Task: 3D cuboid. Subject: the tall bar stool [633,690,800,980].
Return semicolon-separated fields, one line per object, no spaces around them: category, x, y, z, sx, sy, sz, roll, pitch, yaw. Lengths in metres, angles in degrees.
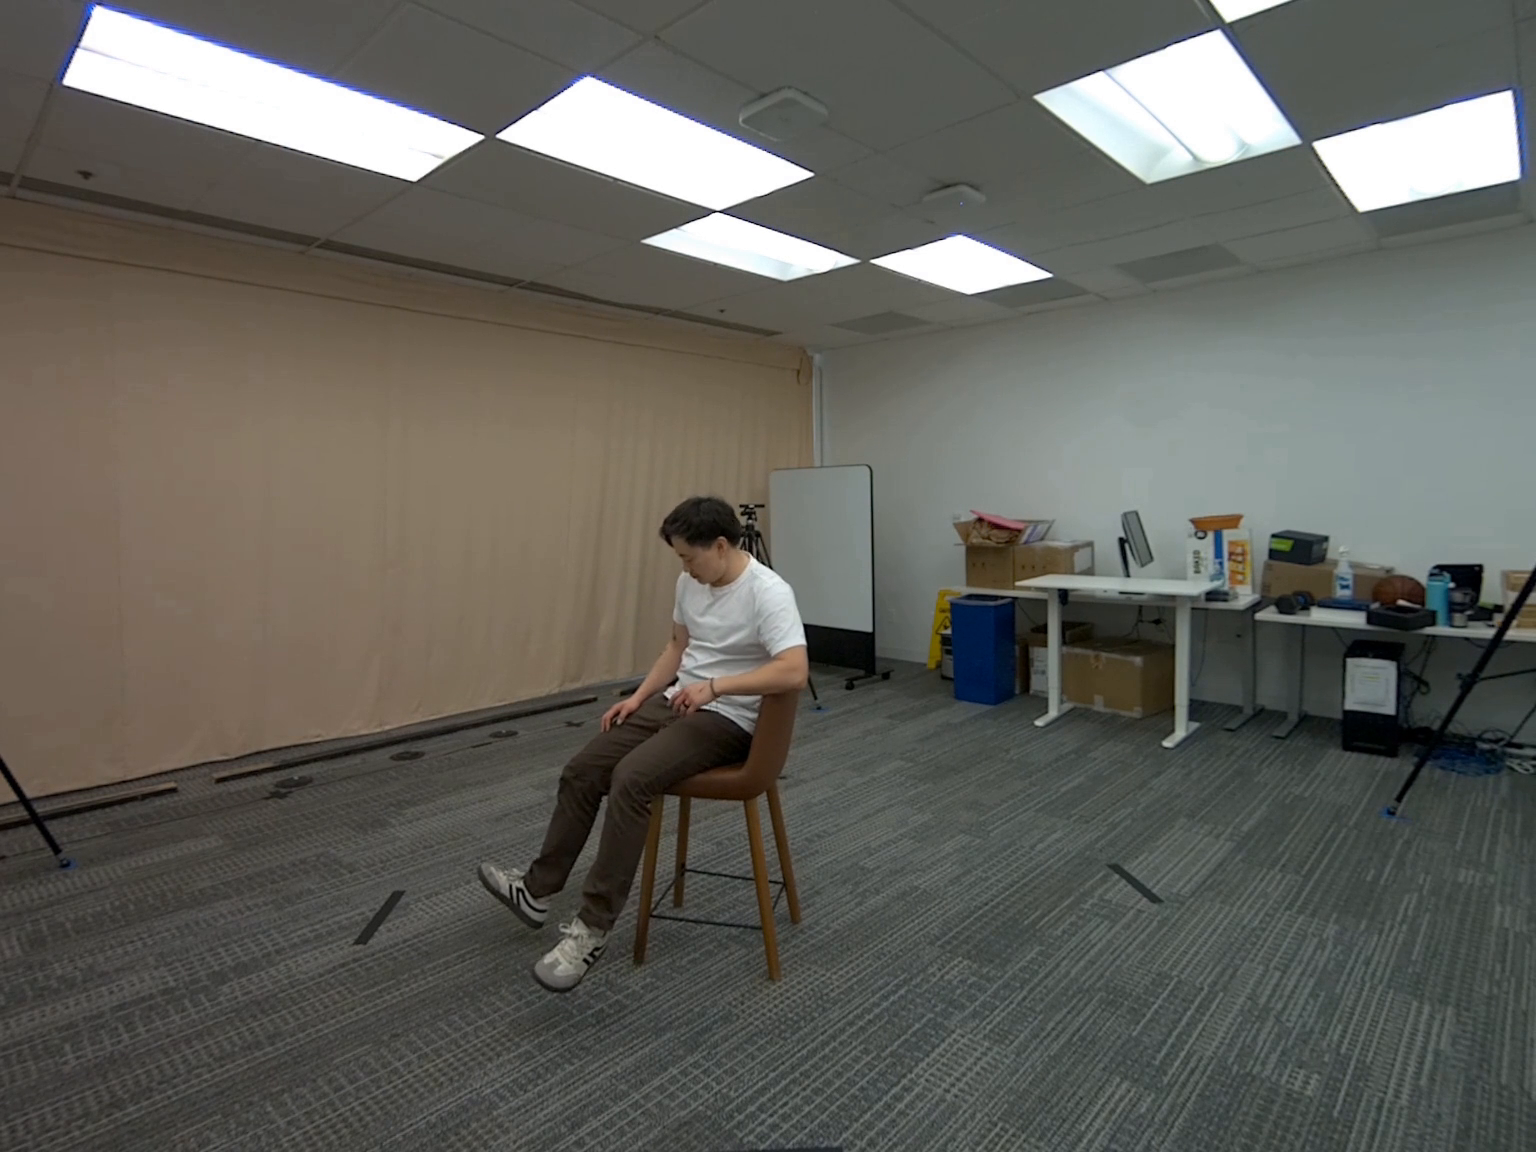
tall bar stool;-0.147;0.740;2.668;0.476;0.887;0.450;2;4;15
